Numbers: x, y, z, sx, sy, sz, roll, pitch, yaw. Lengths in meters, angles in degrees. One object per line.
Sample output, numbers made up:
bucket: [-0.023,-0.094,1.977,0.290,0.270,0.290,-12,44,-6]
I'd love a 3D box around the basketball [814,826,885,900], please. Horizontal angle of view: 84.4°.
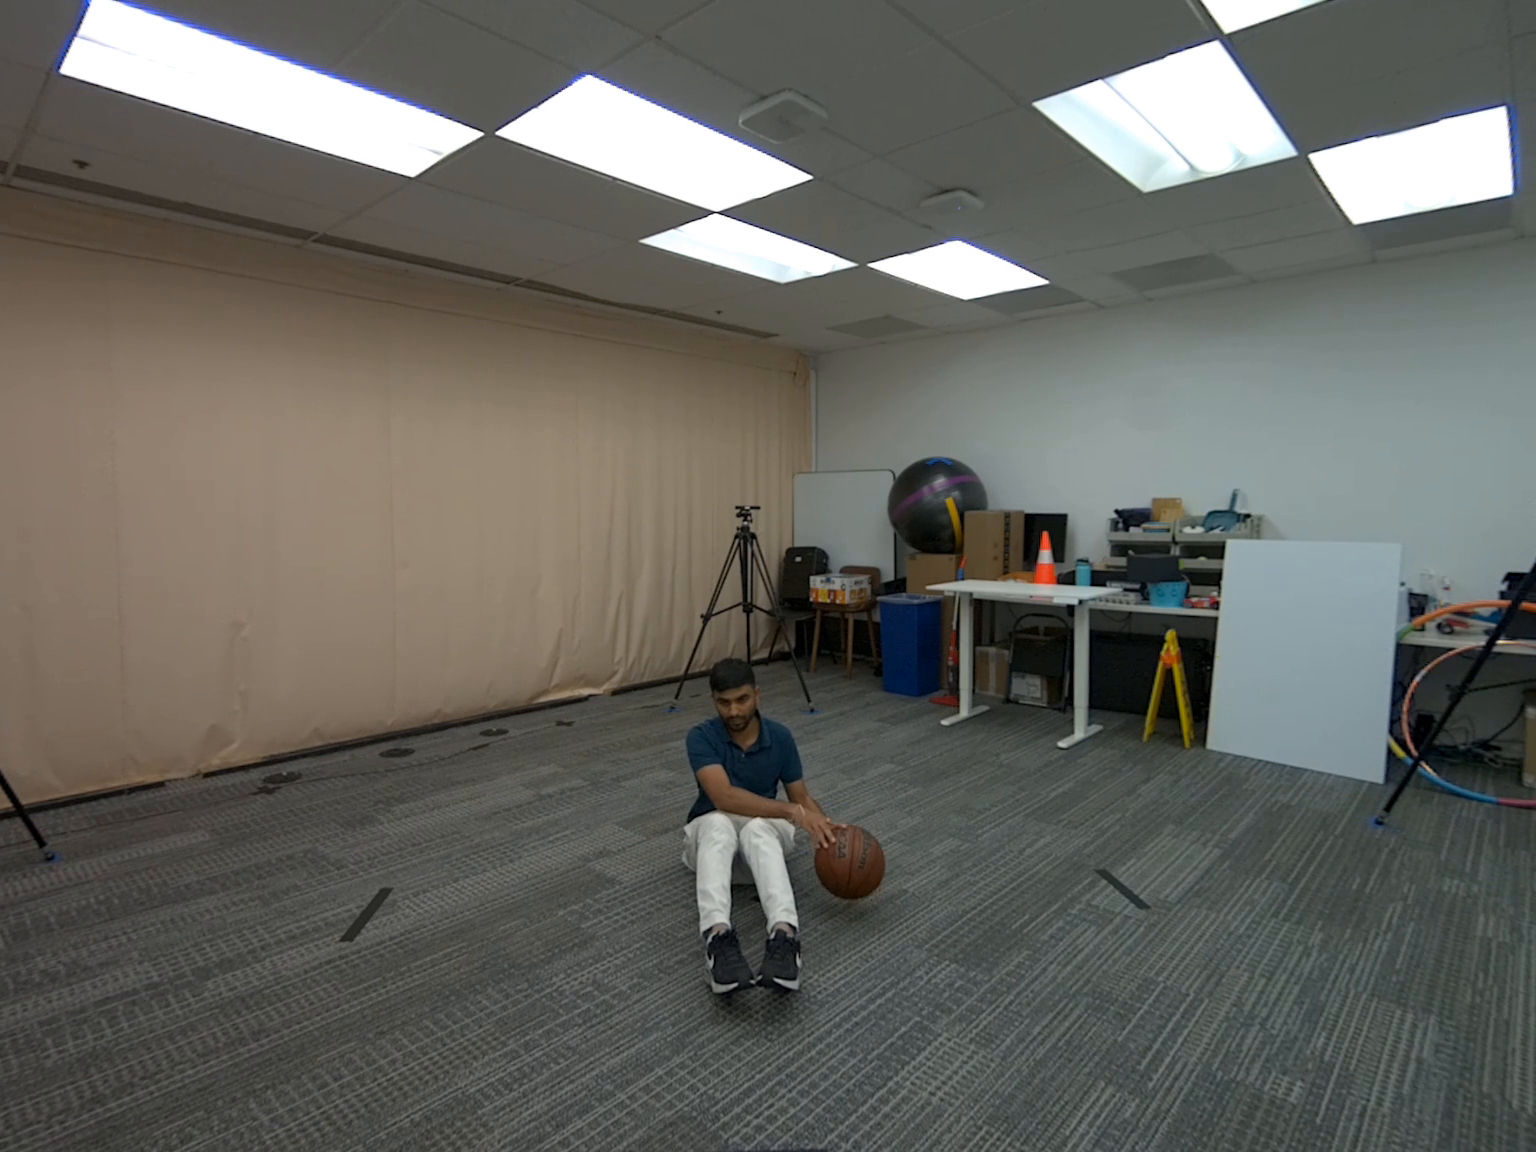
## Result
basketball: [0.284,0.950,2.842,0.236,0.235,0.237,0,4,-2]
